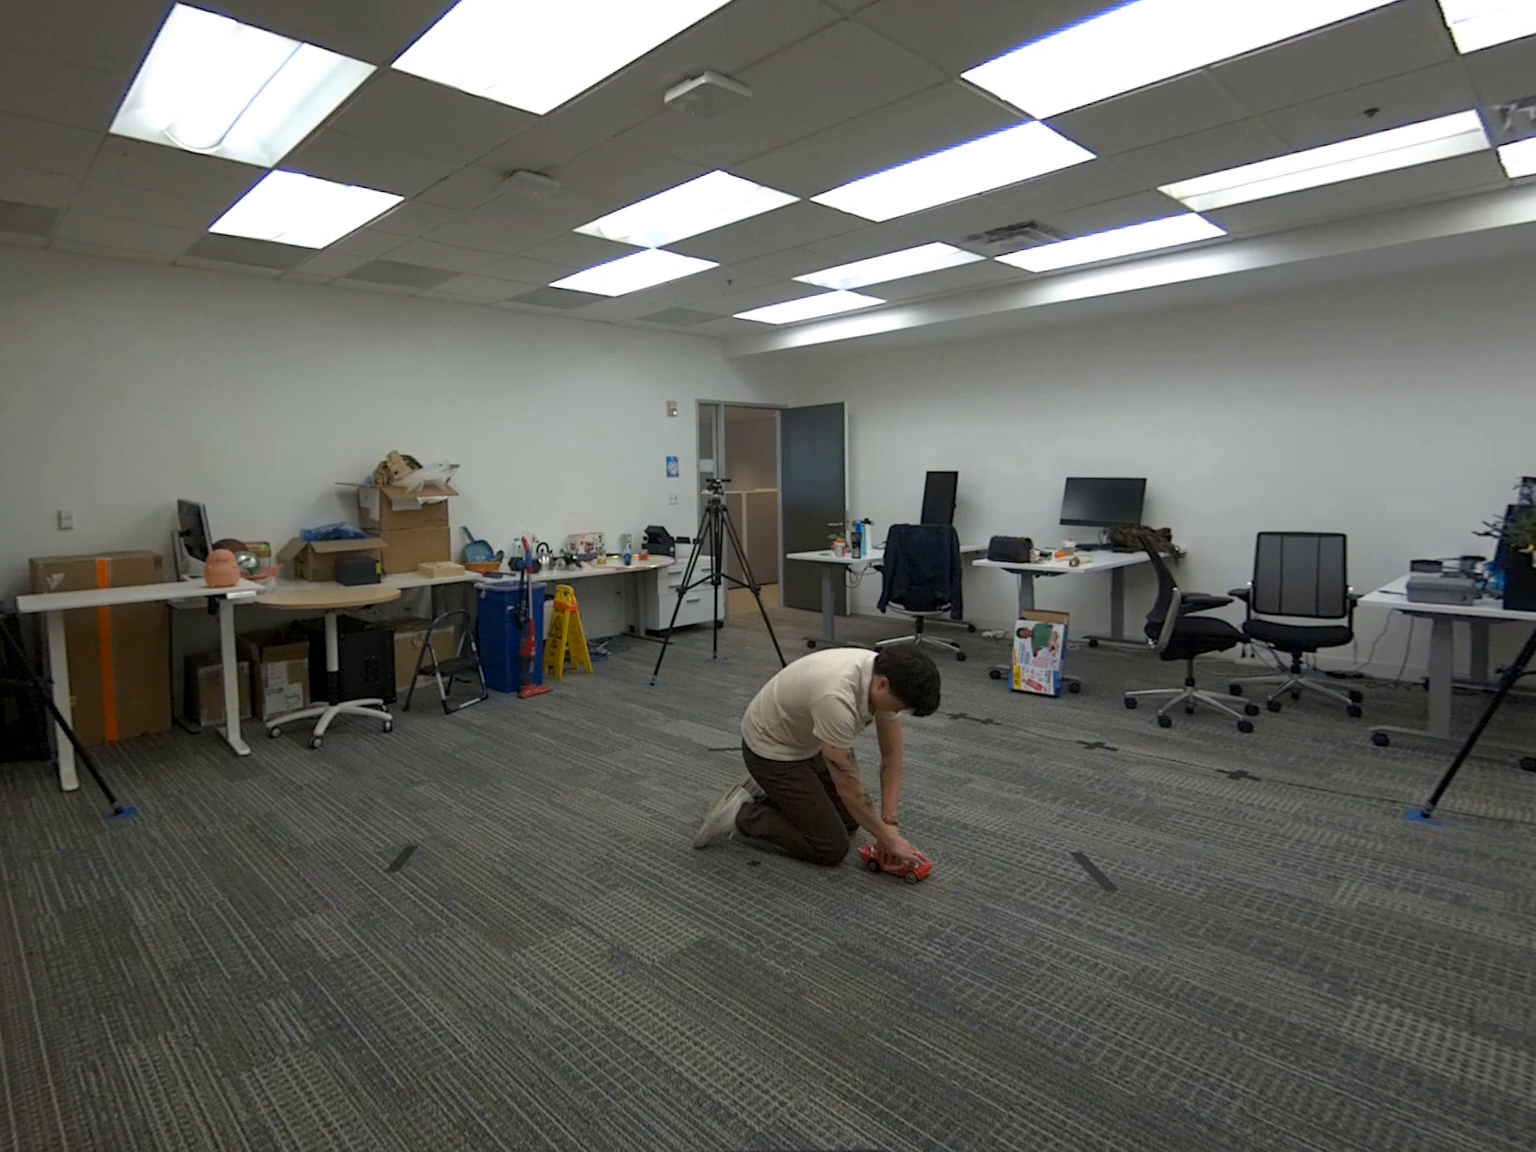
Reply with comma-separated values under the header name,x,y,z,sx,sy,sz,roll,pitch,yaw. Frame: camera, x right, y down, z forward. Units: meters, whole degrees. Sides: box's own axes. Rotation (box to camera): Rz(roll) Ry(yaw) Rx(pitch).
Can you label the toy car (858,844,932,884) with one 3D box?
name,x,y,z,sx,sy,sz,roll,pitch,yaw
toy car,0.446,1.011,3.032,0.263,0.082,0.127,17,16,36
